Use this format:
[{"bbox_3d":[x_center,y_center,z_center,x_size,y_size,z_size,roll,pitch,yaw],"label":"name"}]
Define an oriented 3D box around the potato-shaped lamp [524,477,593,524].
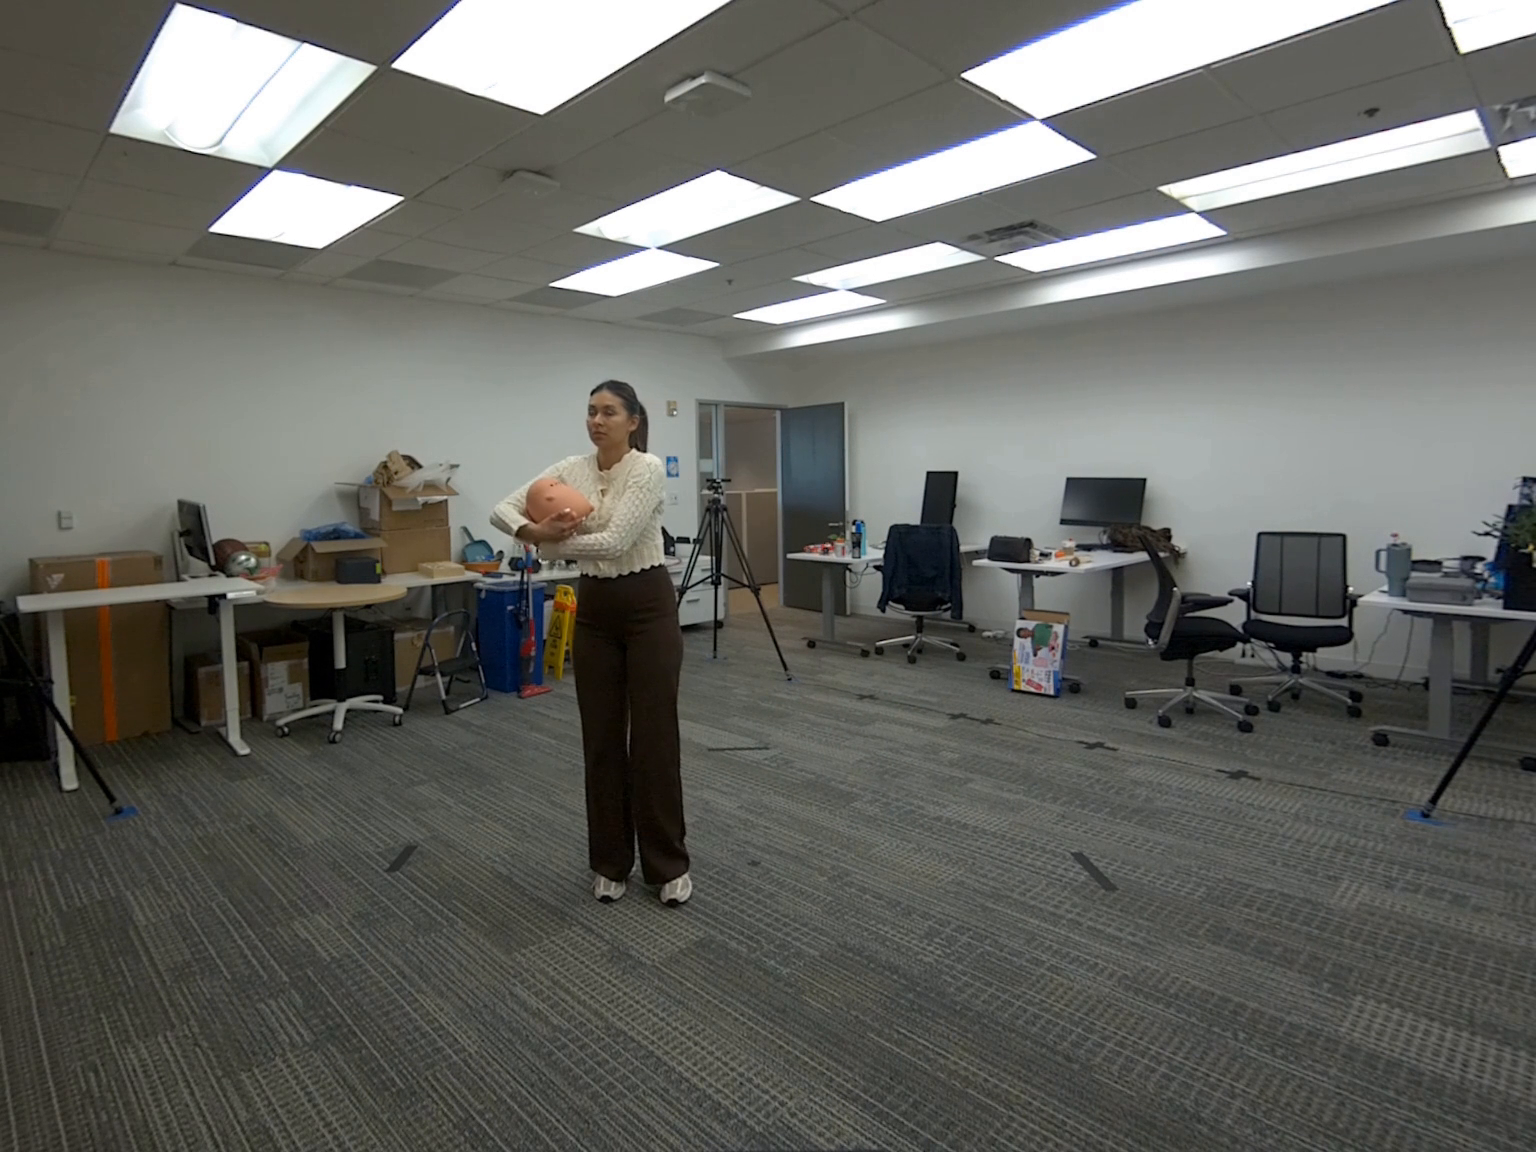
[{"bbox_3d":[-0.667,-0.220,2.715,0.172,0.199,0.163,-40,-4,30],"label":"potato-shaped lamp"}]
